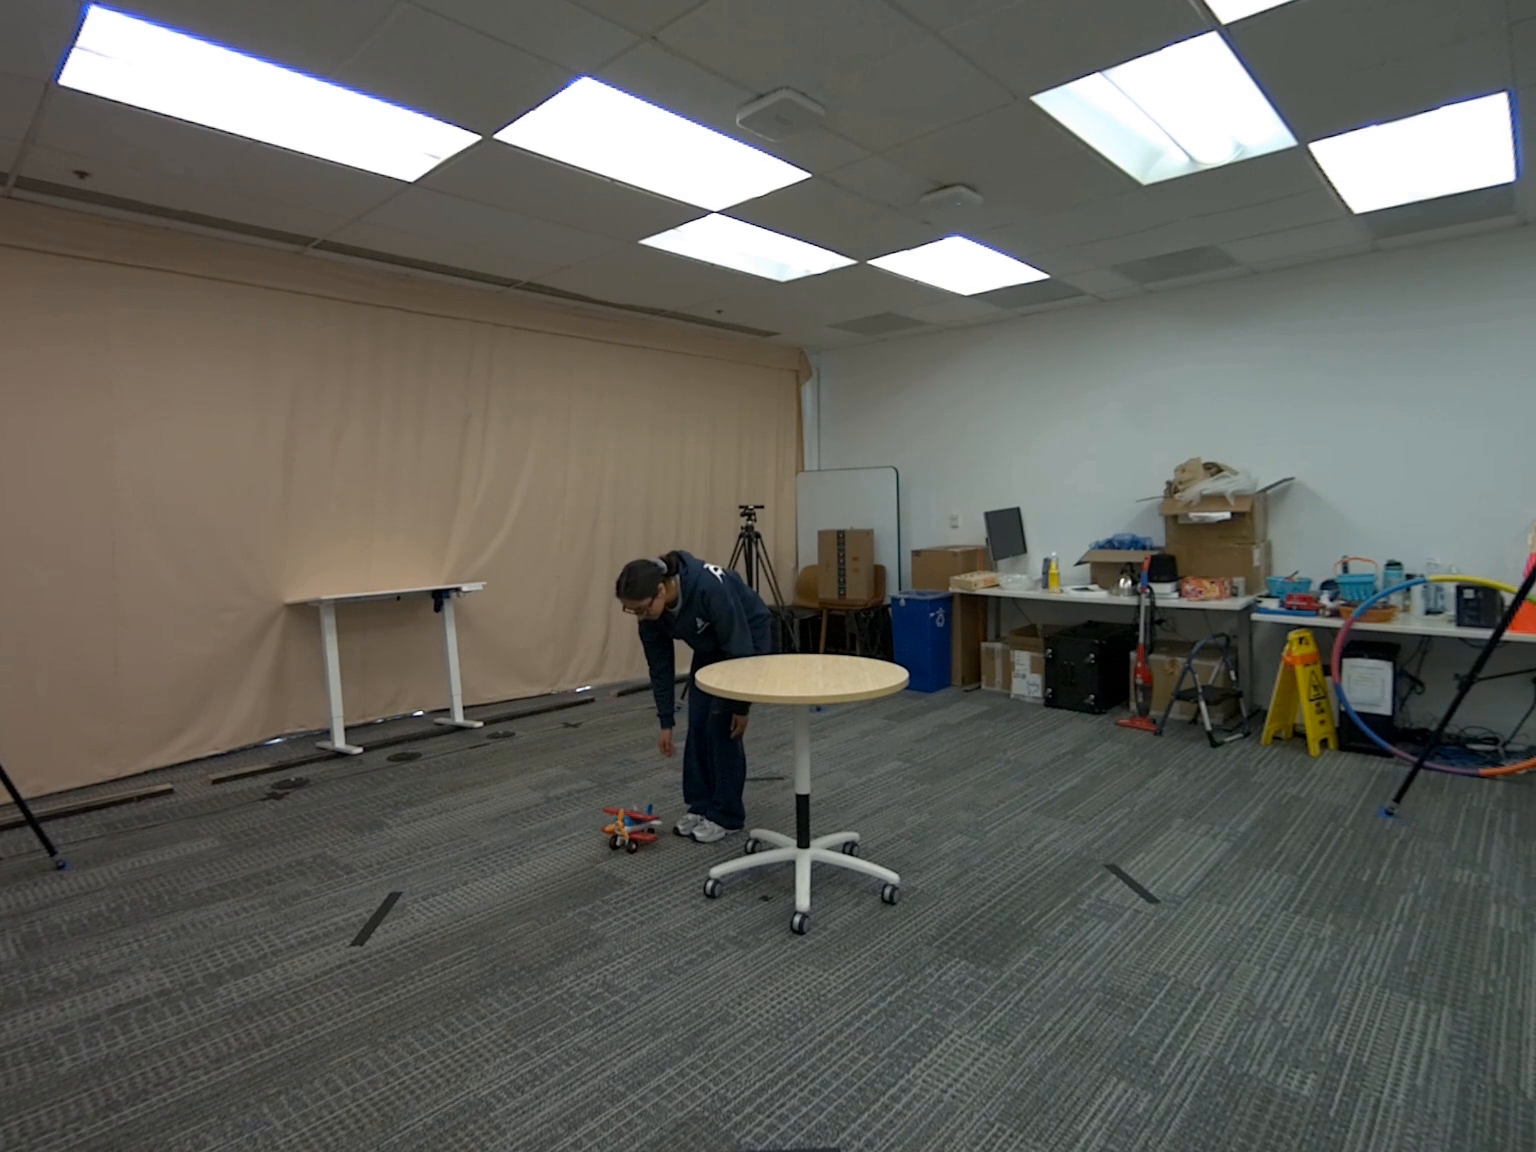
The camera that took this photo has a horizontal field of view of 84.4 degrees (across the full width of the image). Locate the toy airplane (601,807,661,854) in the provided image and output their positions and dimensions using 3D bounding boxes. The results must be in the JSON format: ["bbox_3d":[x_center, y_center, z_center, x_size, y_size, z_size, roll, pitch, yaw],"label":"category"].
[{"bbox_3d":[-0.570,1.035,3.500,0.251,0.156,0.260,-1,6,-2],"label":"toy airplane"}]
